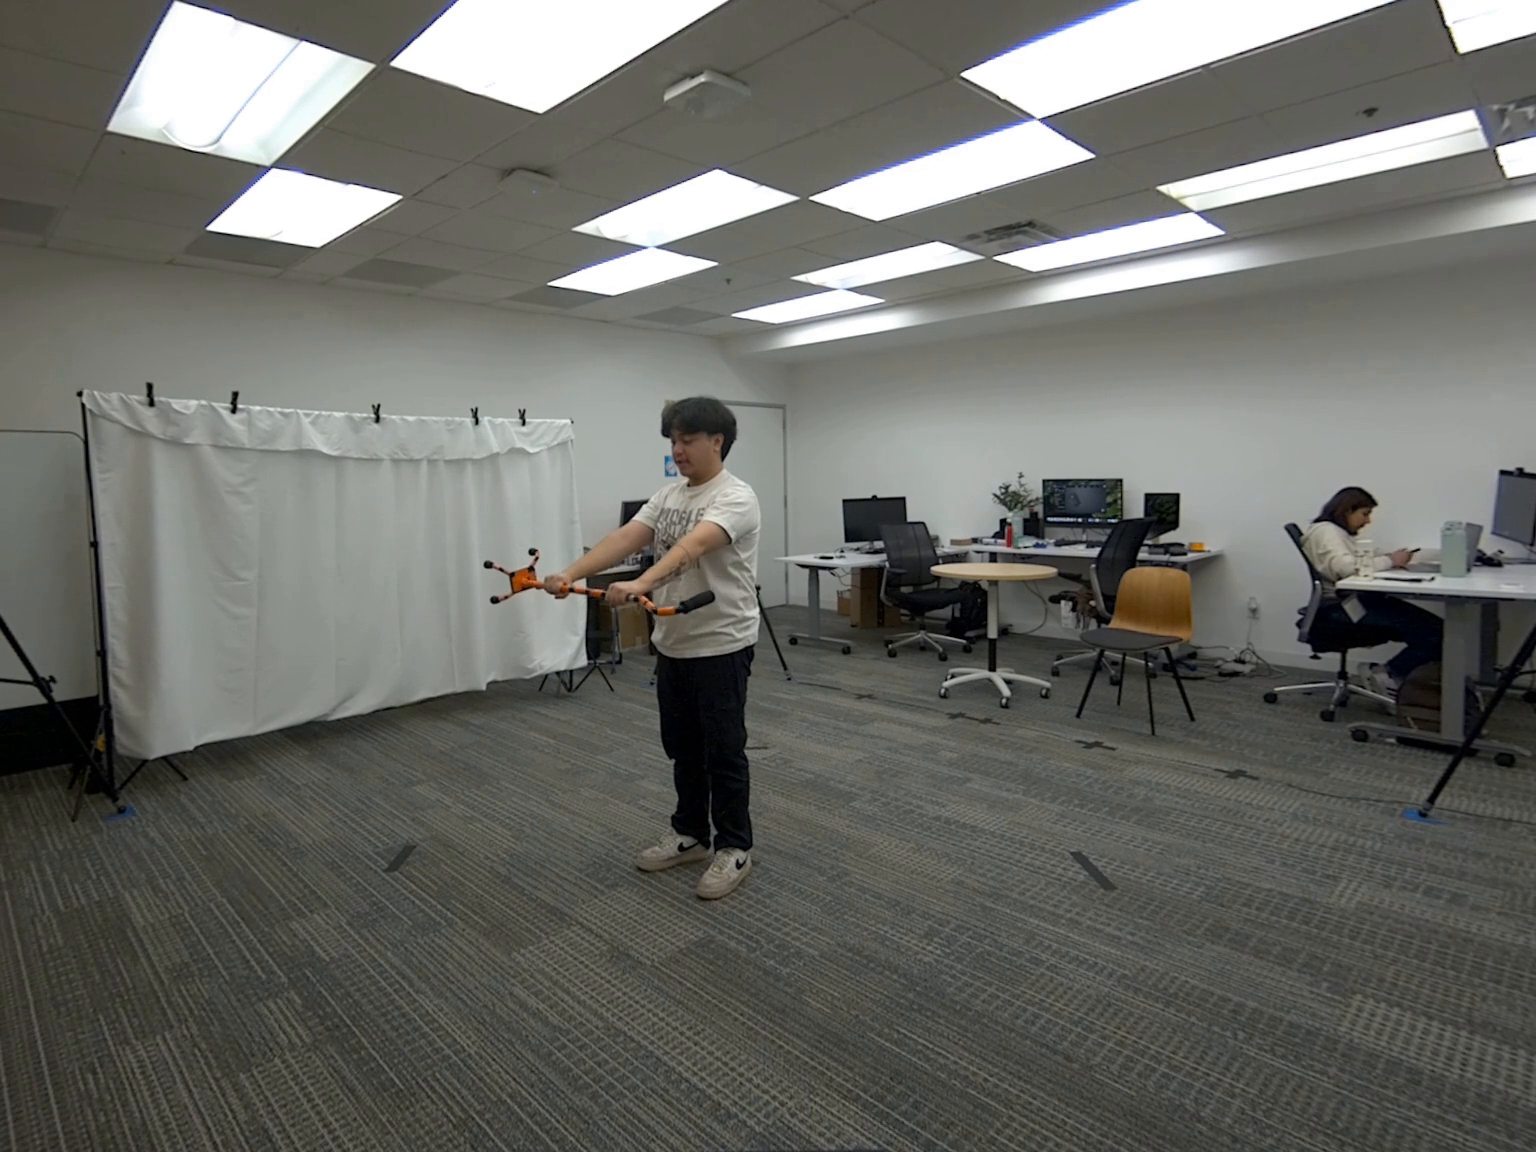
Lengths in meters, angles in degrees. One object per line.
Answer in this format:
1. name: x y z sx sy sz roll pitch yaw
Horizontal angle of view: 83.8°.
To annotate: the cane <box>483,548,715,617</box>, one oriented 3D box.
1. cane: -0.544 0.029 2.618 0.202 0.150 0.937 -19 18 -42
